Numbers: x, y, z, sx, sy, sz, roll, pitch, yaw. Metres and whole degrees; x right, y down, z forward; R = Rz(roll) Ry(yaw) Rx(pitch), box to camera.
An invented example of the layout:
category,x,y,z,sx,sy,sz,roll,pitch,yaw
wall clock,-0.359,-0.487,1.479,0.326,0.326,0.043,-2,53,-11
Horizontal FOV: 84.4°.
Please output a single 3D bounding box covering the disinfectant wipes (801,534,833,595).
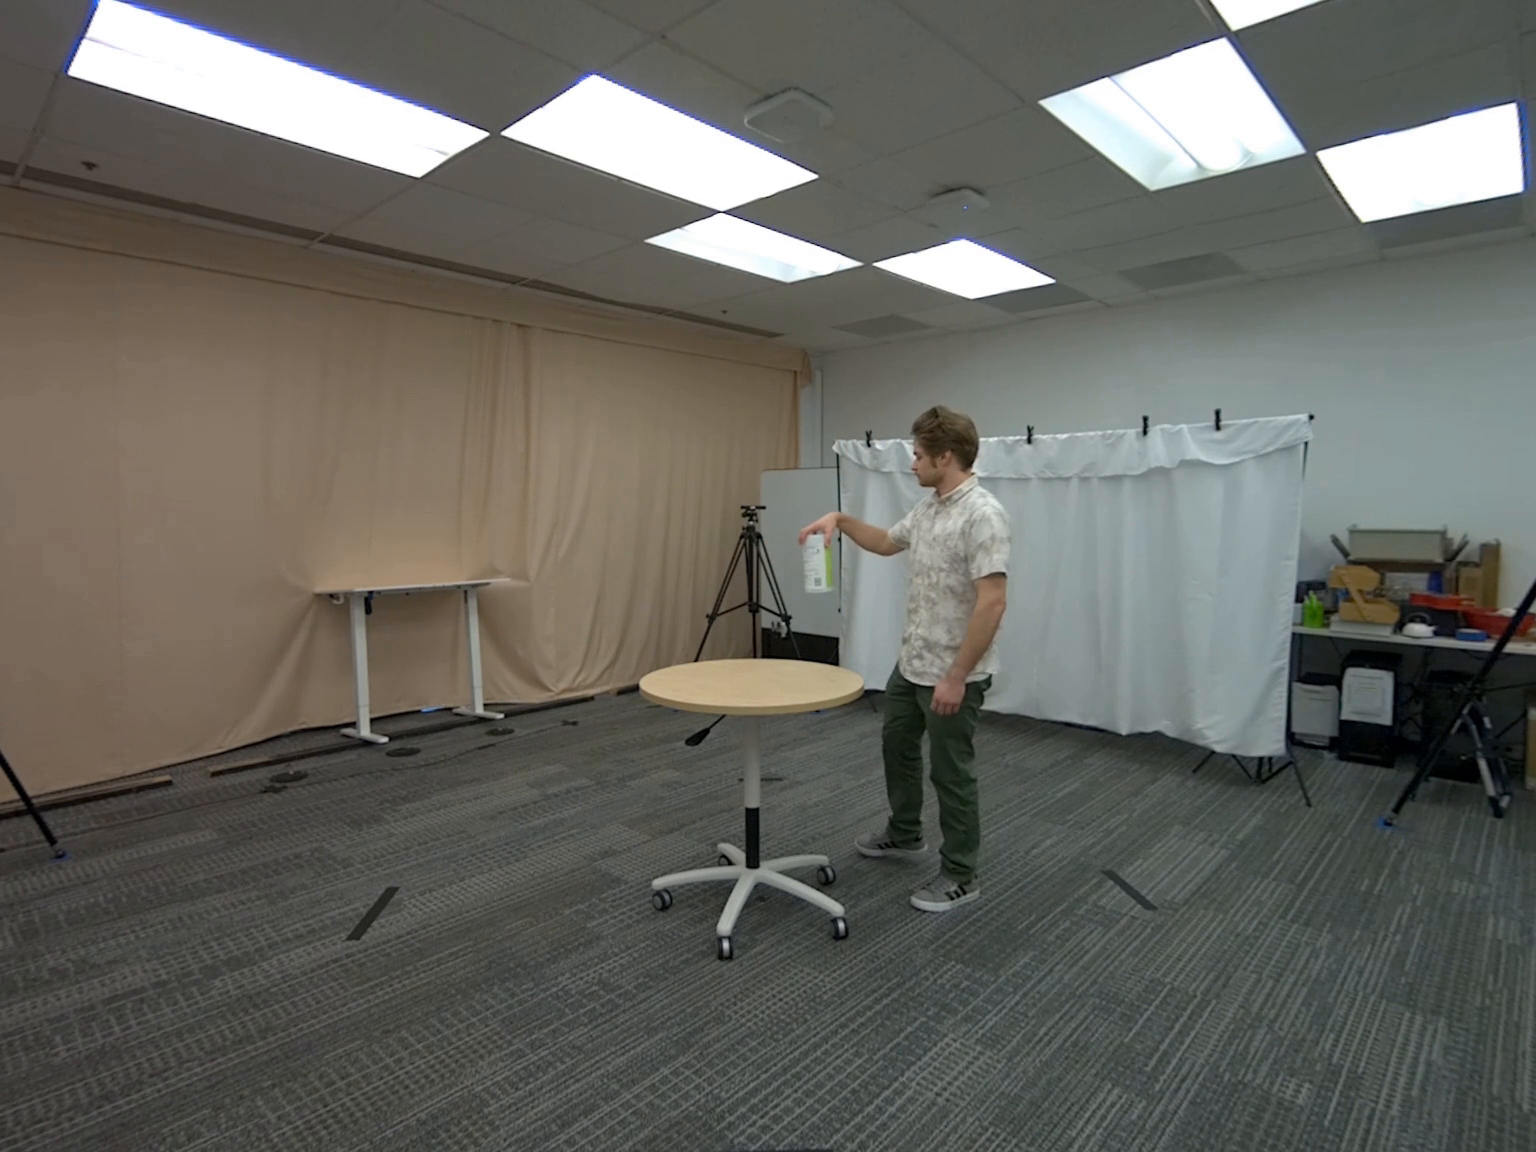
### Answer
category,x,y,z,sx,sy,sz,roll,pitch,yaw
disinfectant wipes,0.195,-0.038,3.139,0.118,0.217,0.118,-3,2,-2
